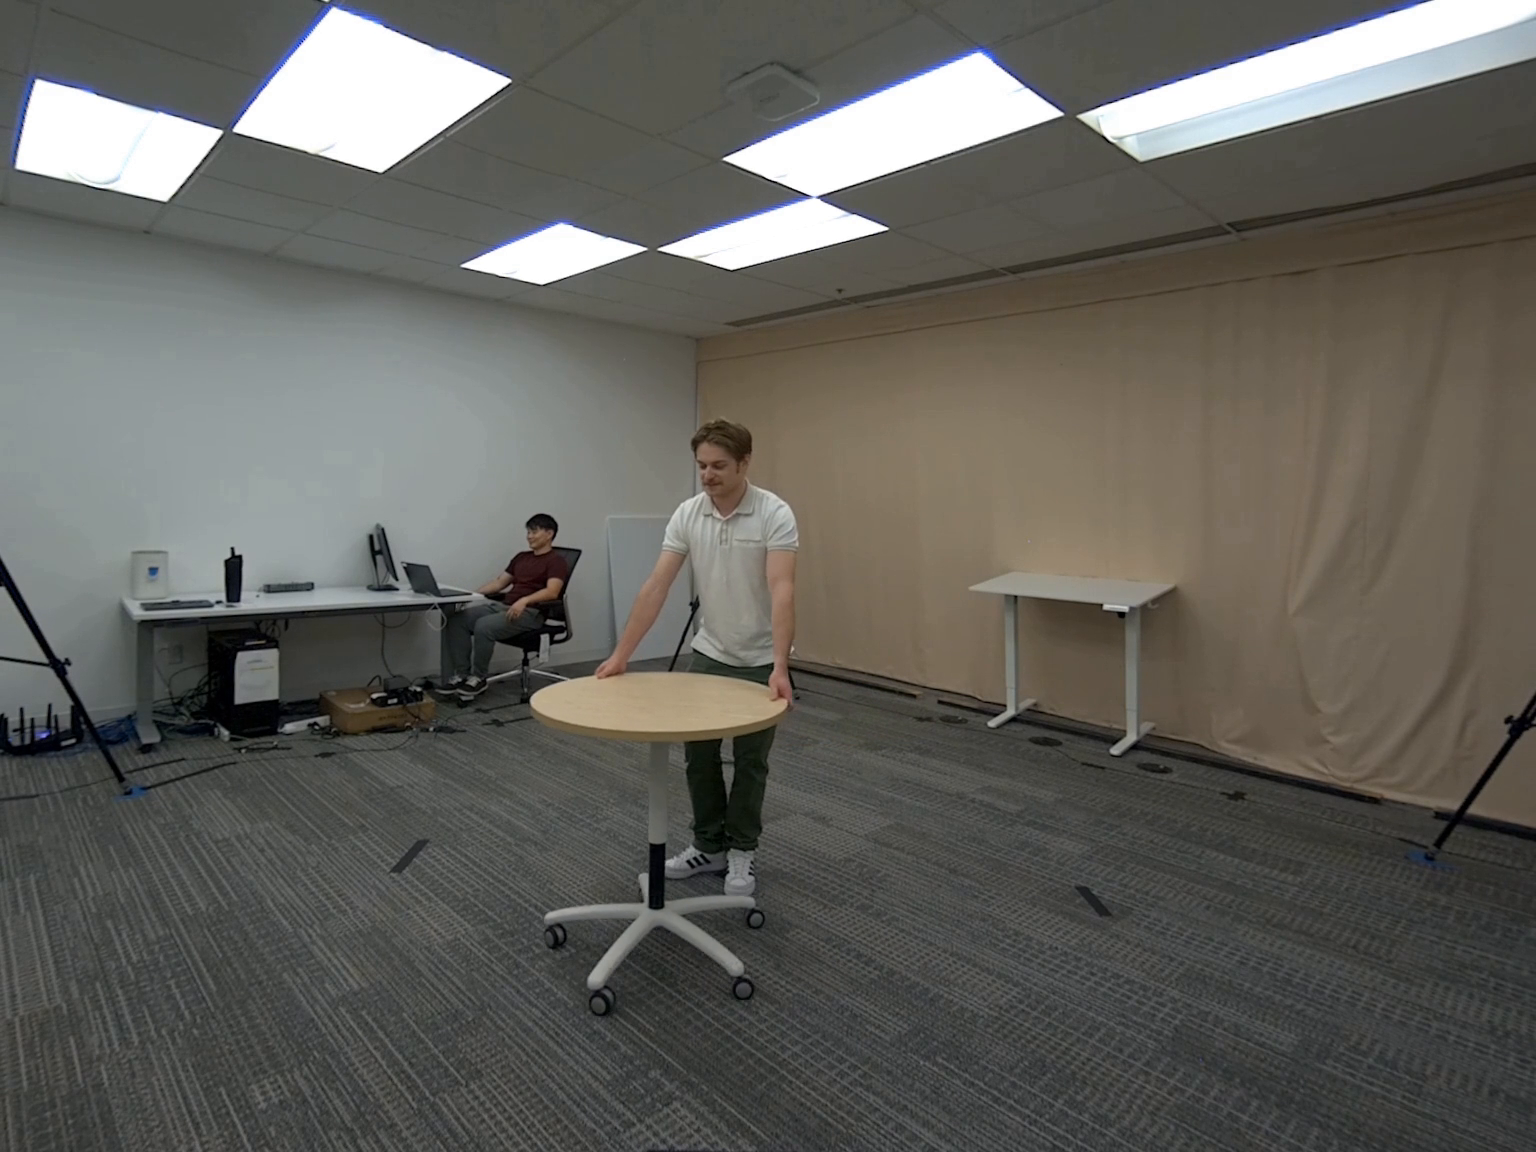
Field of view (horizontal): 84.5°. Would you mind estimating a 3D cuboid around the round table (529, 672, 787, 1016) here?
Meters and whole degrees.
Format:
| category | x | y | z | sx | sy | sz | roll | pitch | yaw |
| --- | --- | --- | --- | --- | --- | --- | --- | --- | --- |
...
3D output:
| category | x | y | z | sx | sy | sz | roll | pitch | yaw |
| --- | --- | --- | --- | --- | --- | --- | --- | --- | --- |
| round table | -0.341 | 0.764 | 2.552 | 0.763 | 0.792 | 0.766 | 1 | 4 | -1 |
